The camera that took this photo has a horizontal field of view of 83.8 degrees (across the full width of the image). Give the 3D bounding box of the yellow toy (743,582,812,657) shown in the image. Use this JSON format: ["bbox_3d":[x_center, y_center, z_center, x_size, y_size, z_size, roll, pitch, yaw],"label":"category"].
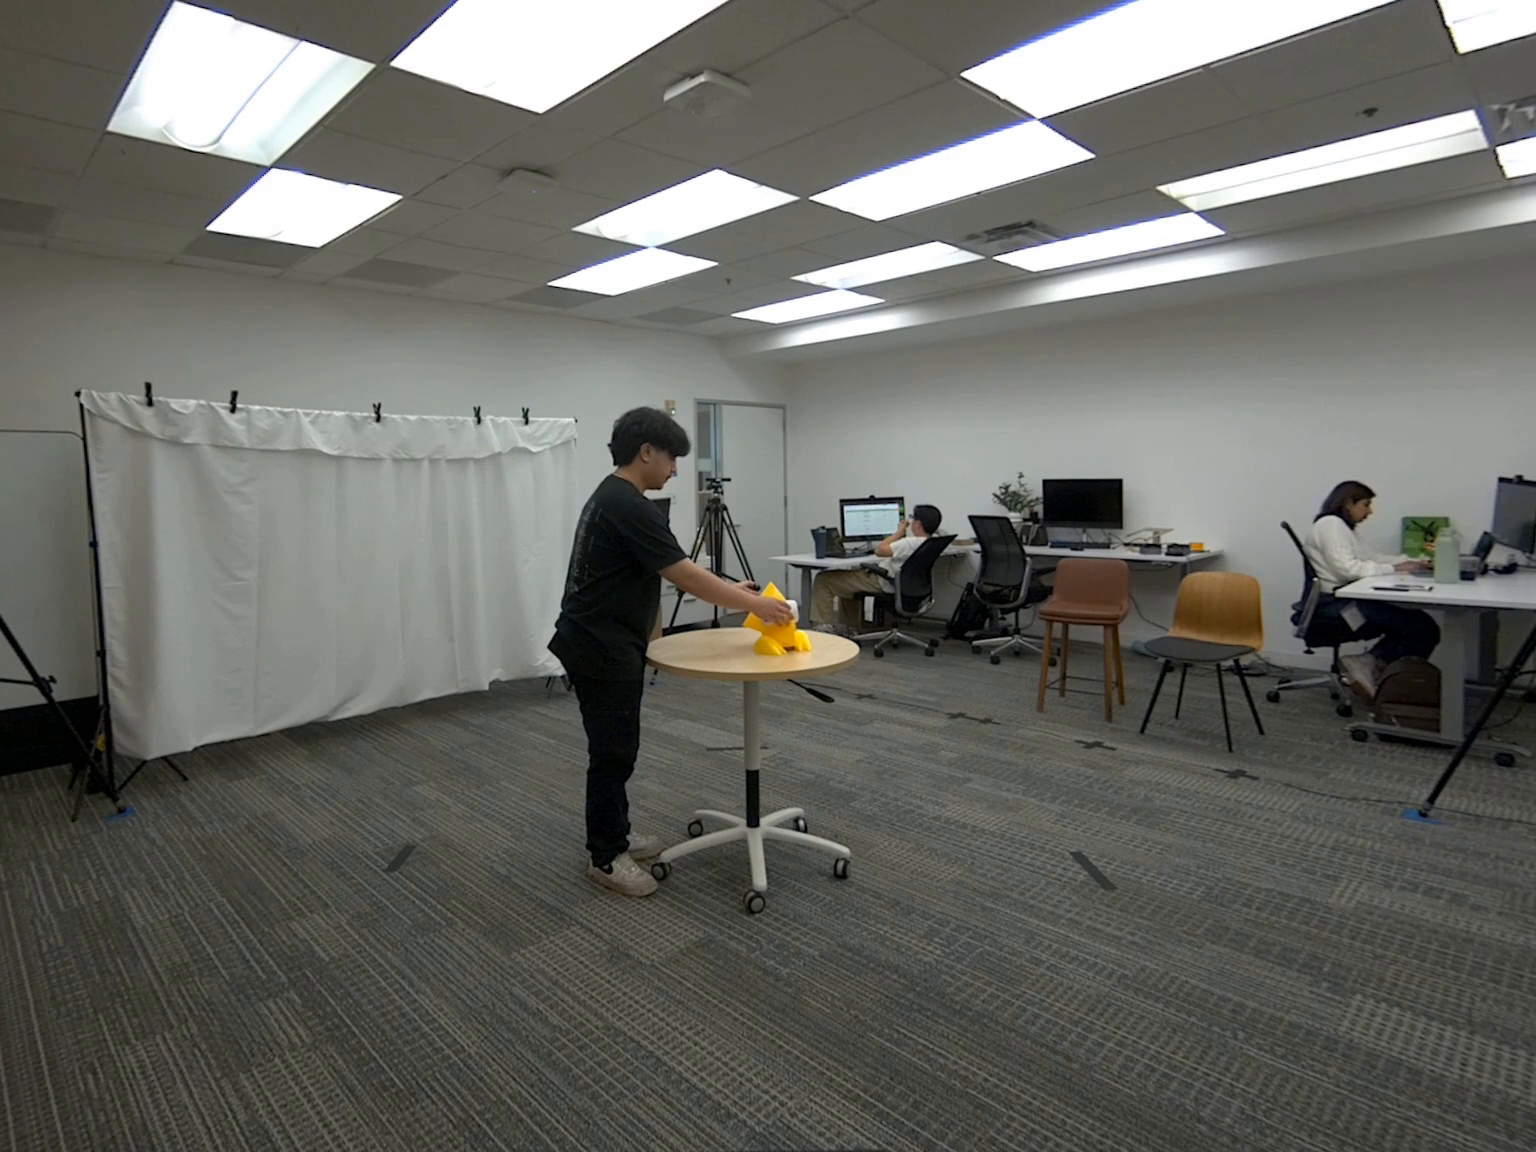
[{"bbox_3d":[0.042,0.141,3.017,0.200,0.230,0.198,-4,5,-32],"label":"yellow toy"}]
